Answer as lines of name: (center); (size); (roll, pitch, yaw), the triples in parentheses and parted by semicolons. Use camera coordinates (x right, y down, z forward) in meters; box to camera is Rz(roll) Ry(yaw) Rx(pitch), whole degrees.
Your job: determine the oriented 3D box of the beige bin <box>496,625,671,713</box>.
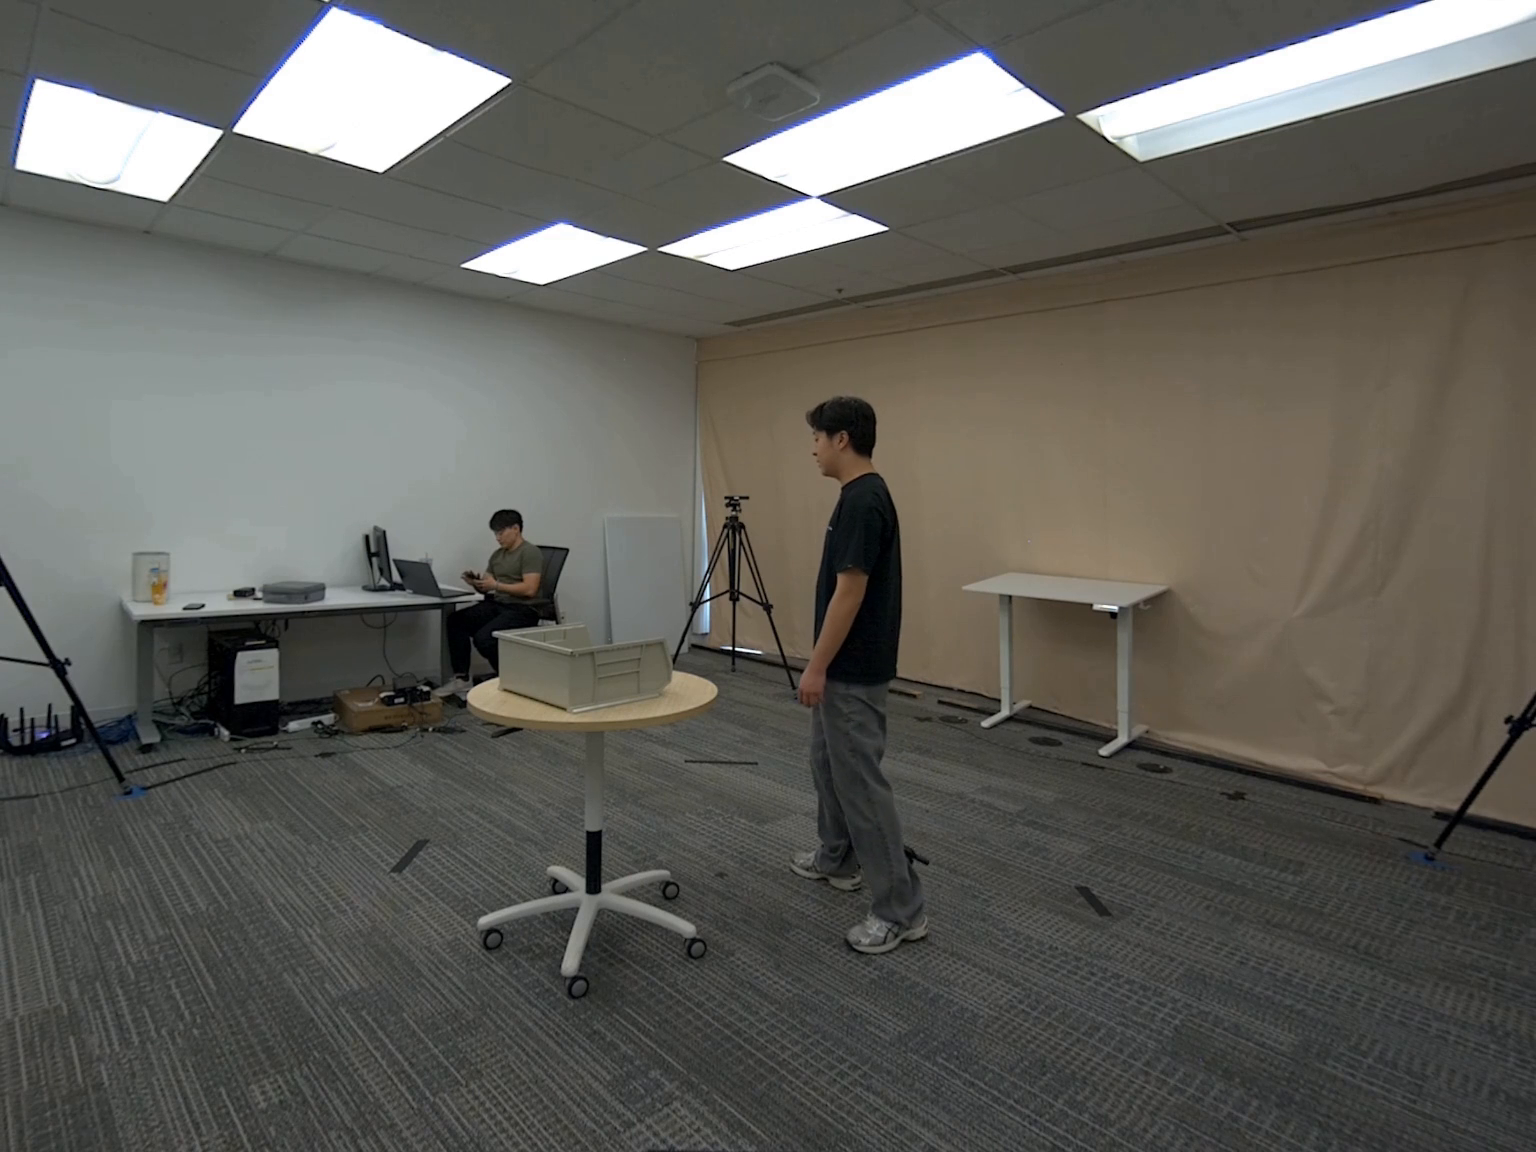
beige bin: (-0.576, 0.270, 2.582); (0.433, 0.188, 0.369); (7, 8, 43)
